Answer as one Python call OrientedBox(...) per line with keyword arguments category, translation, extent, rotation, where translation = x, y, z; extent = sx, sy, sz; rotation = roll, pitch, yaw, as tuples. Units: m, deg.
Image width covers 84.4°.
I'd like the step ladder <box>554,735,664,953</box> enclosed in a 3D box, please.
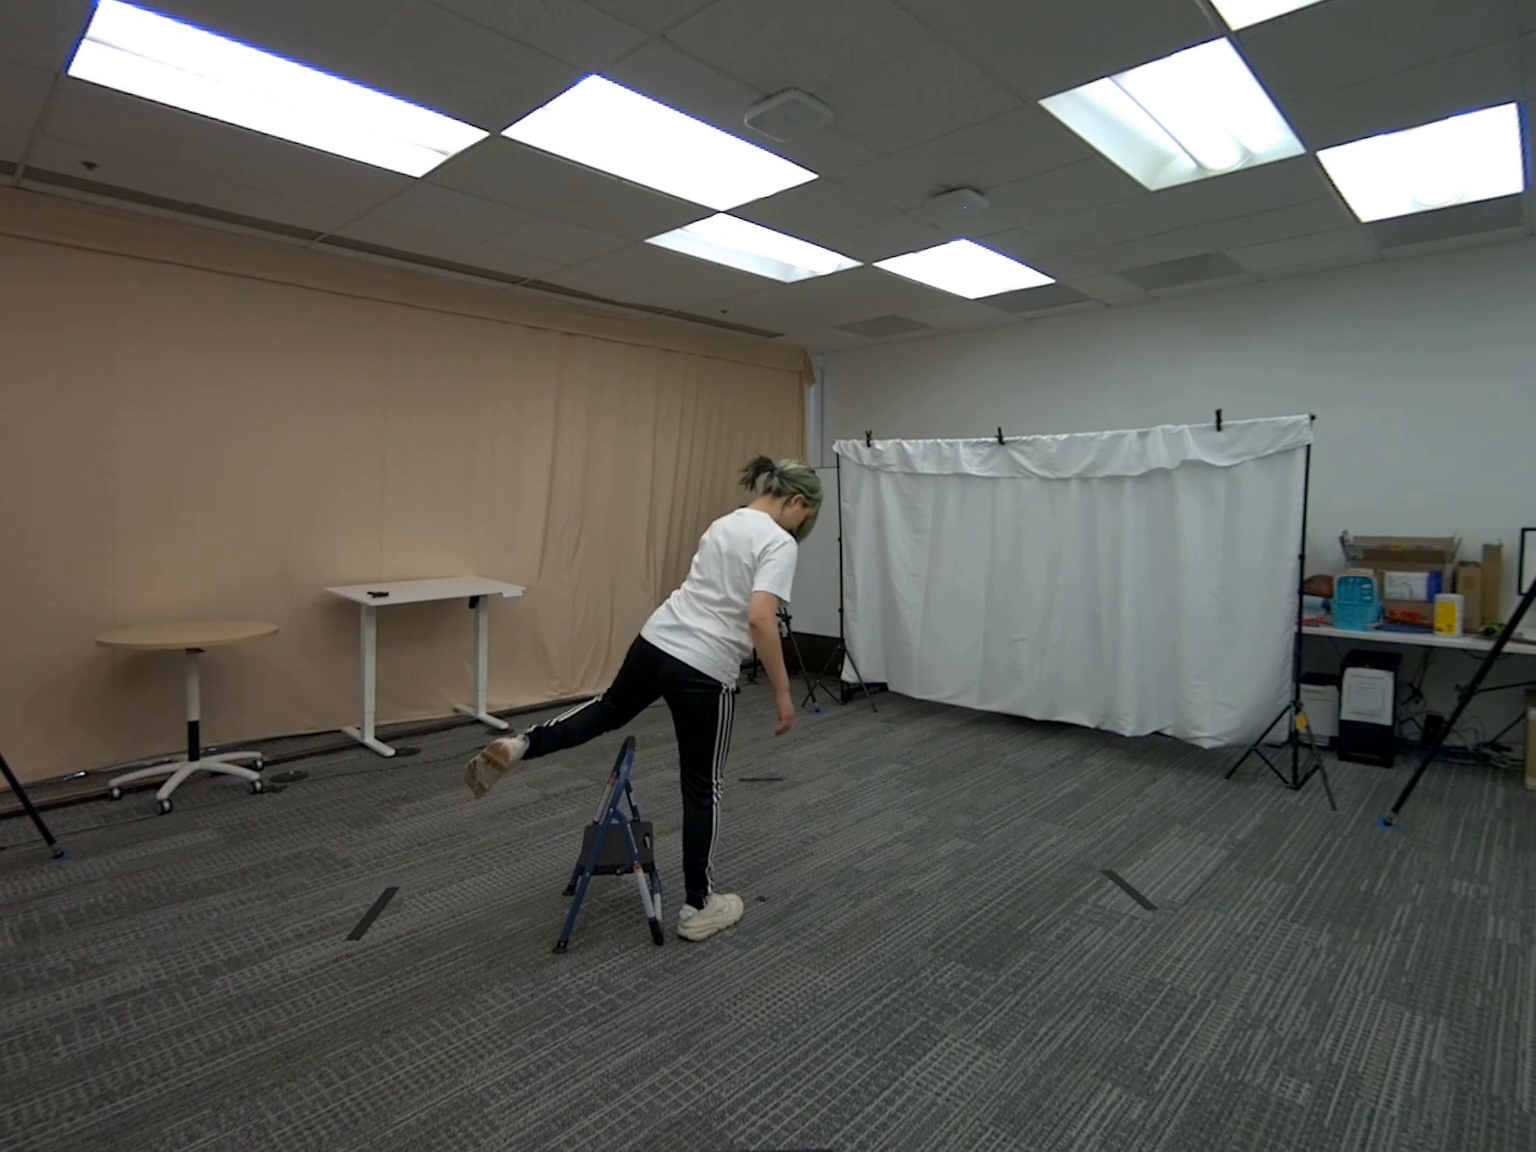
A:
OrientedBox(category="step ladder", translation=(-0.535, 0.862, 2.840), extent=(0.347, 0.605, 0.435), rotation=(-1, 4, -8))
